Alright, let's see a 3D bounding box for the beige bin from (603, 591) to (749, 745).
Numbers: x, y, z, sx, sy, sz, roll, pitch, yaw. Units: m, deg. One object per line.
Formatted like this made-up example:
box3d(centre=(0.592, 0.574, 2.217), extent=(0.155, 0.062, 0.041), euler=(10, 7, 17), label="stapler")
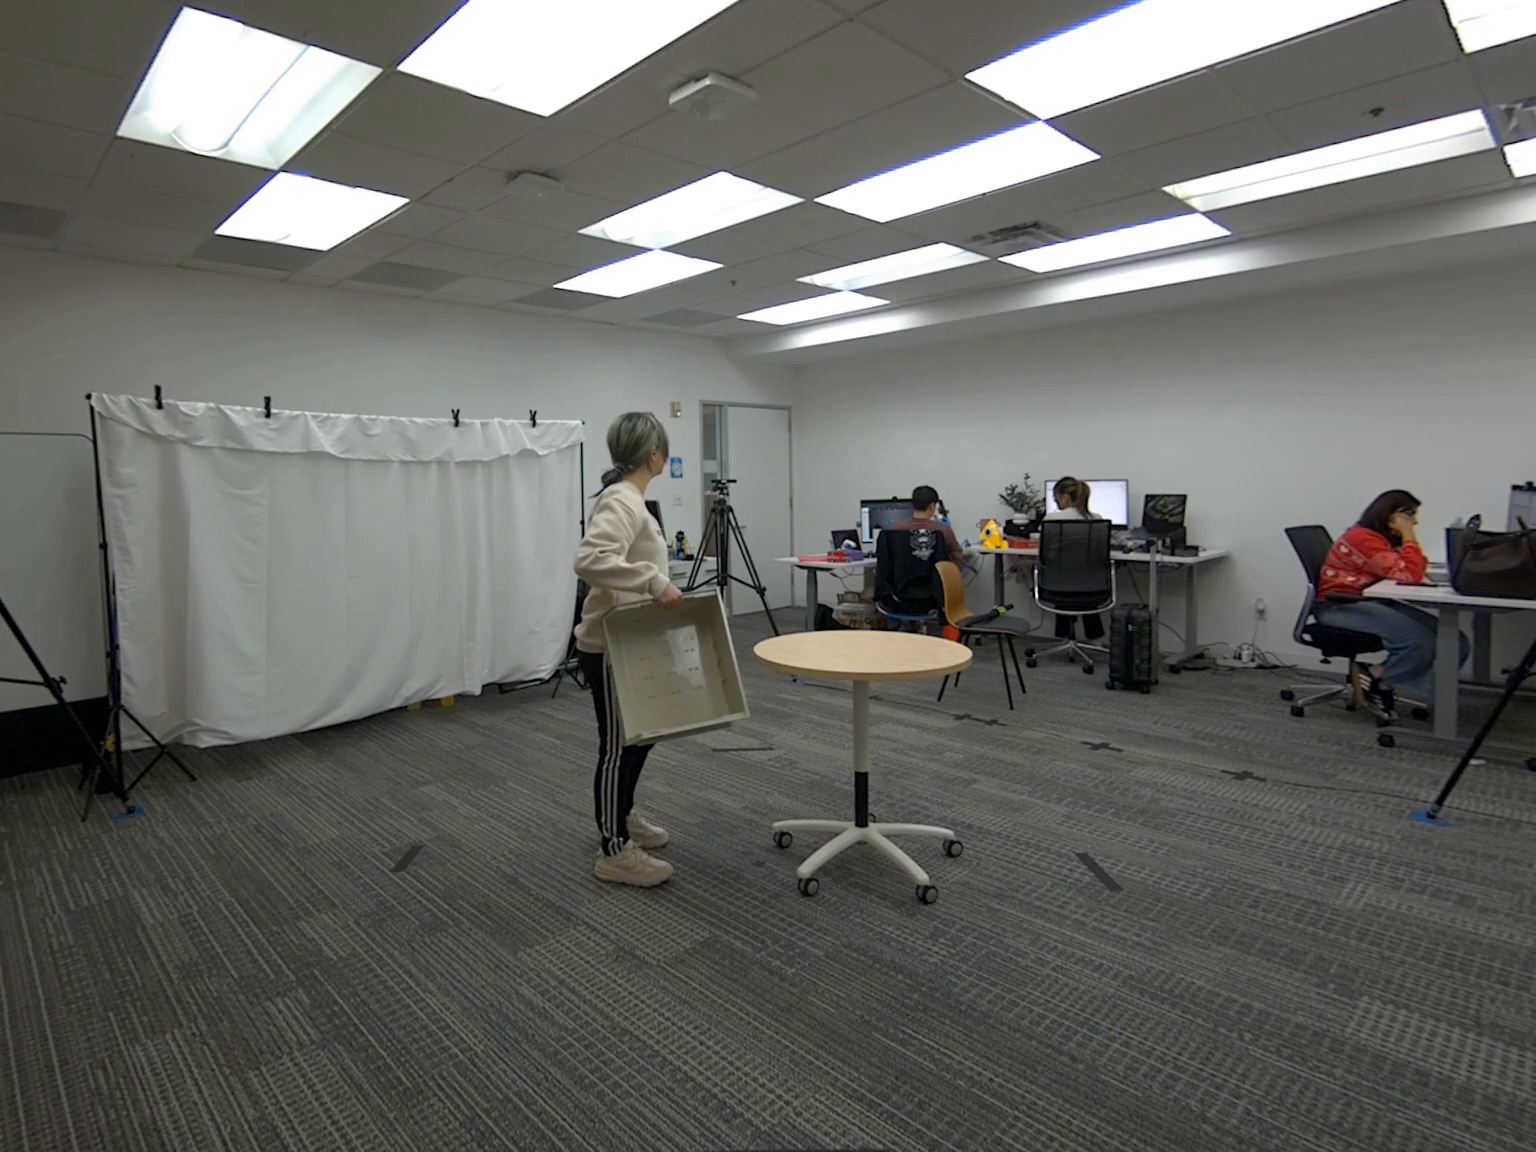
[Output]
box3d(centre=(-0.309, 0.287, 2.704), extent=(0.372, 0.431, 0.187), euler=(-8, -20, -17), label="beige bin")
